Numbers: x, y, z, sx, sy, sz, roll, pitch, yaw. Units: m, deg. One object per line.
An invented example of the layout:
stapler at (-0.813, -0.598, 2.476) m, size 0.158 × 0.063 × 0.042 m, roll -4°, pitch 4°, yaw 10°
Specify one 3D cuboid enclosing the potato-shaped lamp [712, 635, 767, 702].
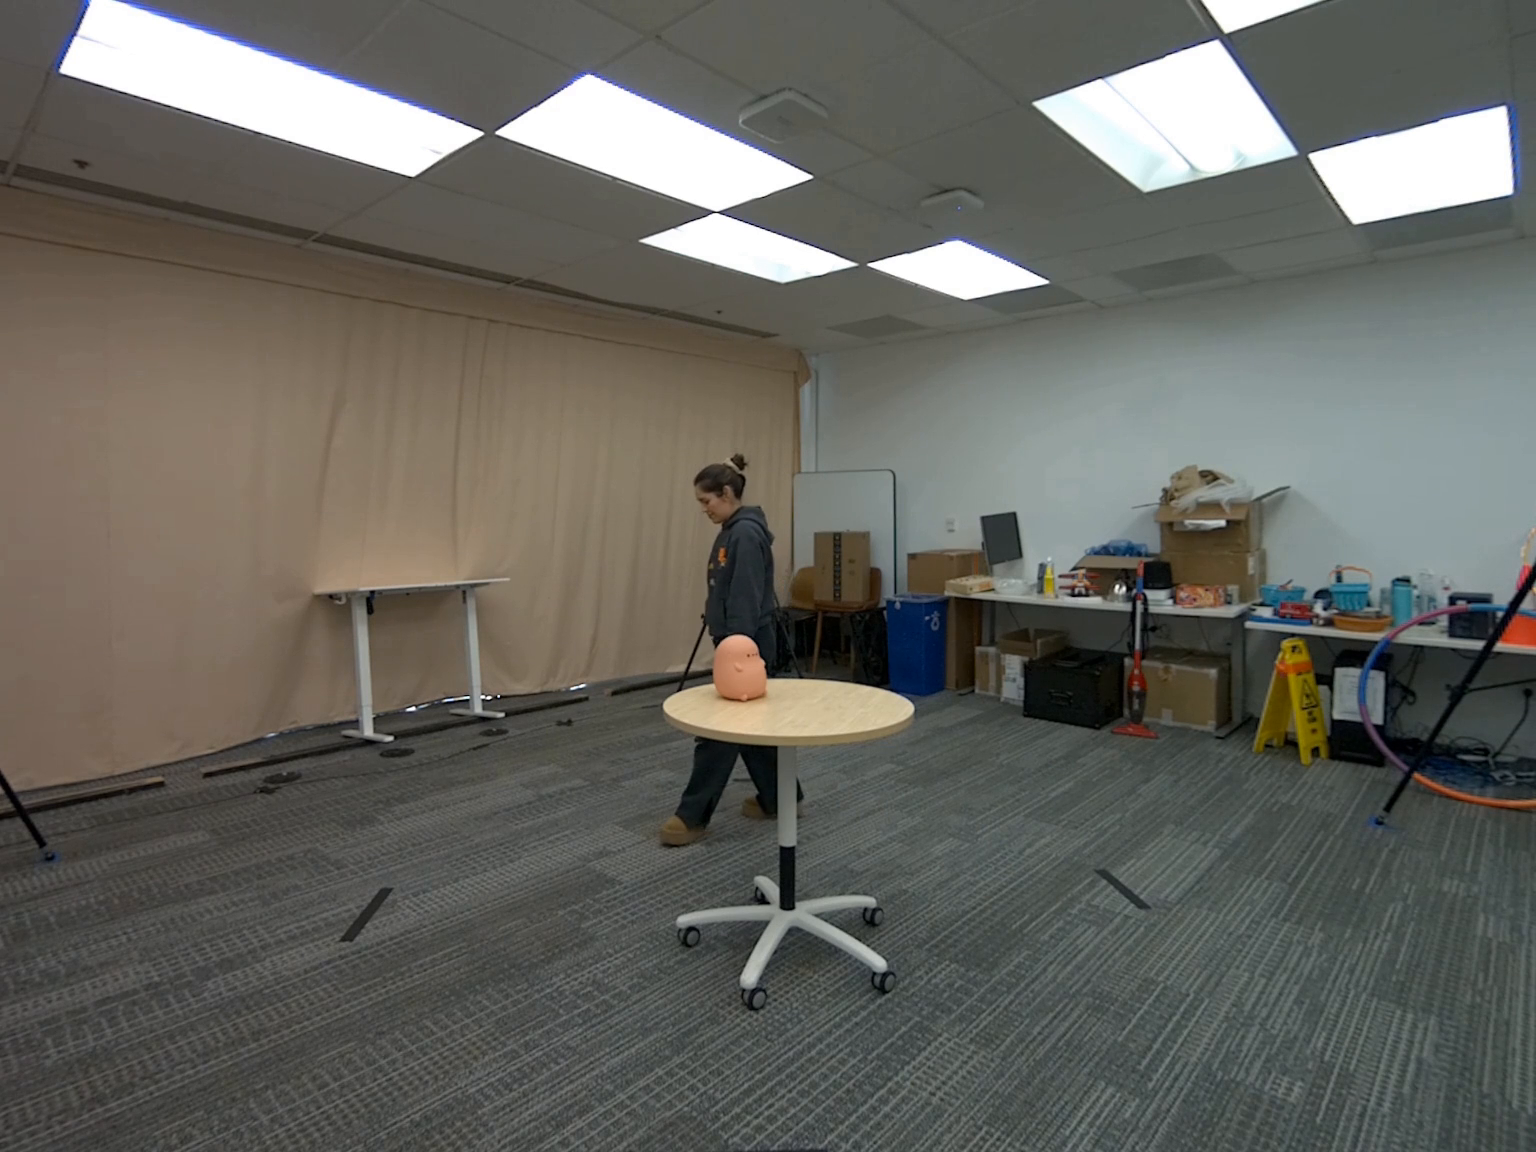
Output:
potato-shaped lamp at (-0.083, 0.287, 2.689) m, size 0.177 × 0.198 × 0.160 m, roll 0°, pitch 4°, yaw 44°
